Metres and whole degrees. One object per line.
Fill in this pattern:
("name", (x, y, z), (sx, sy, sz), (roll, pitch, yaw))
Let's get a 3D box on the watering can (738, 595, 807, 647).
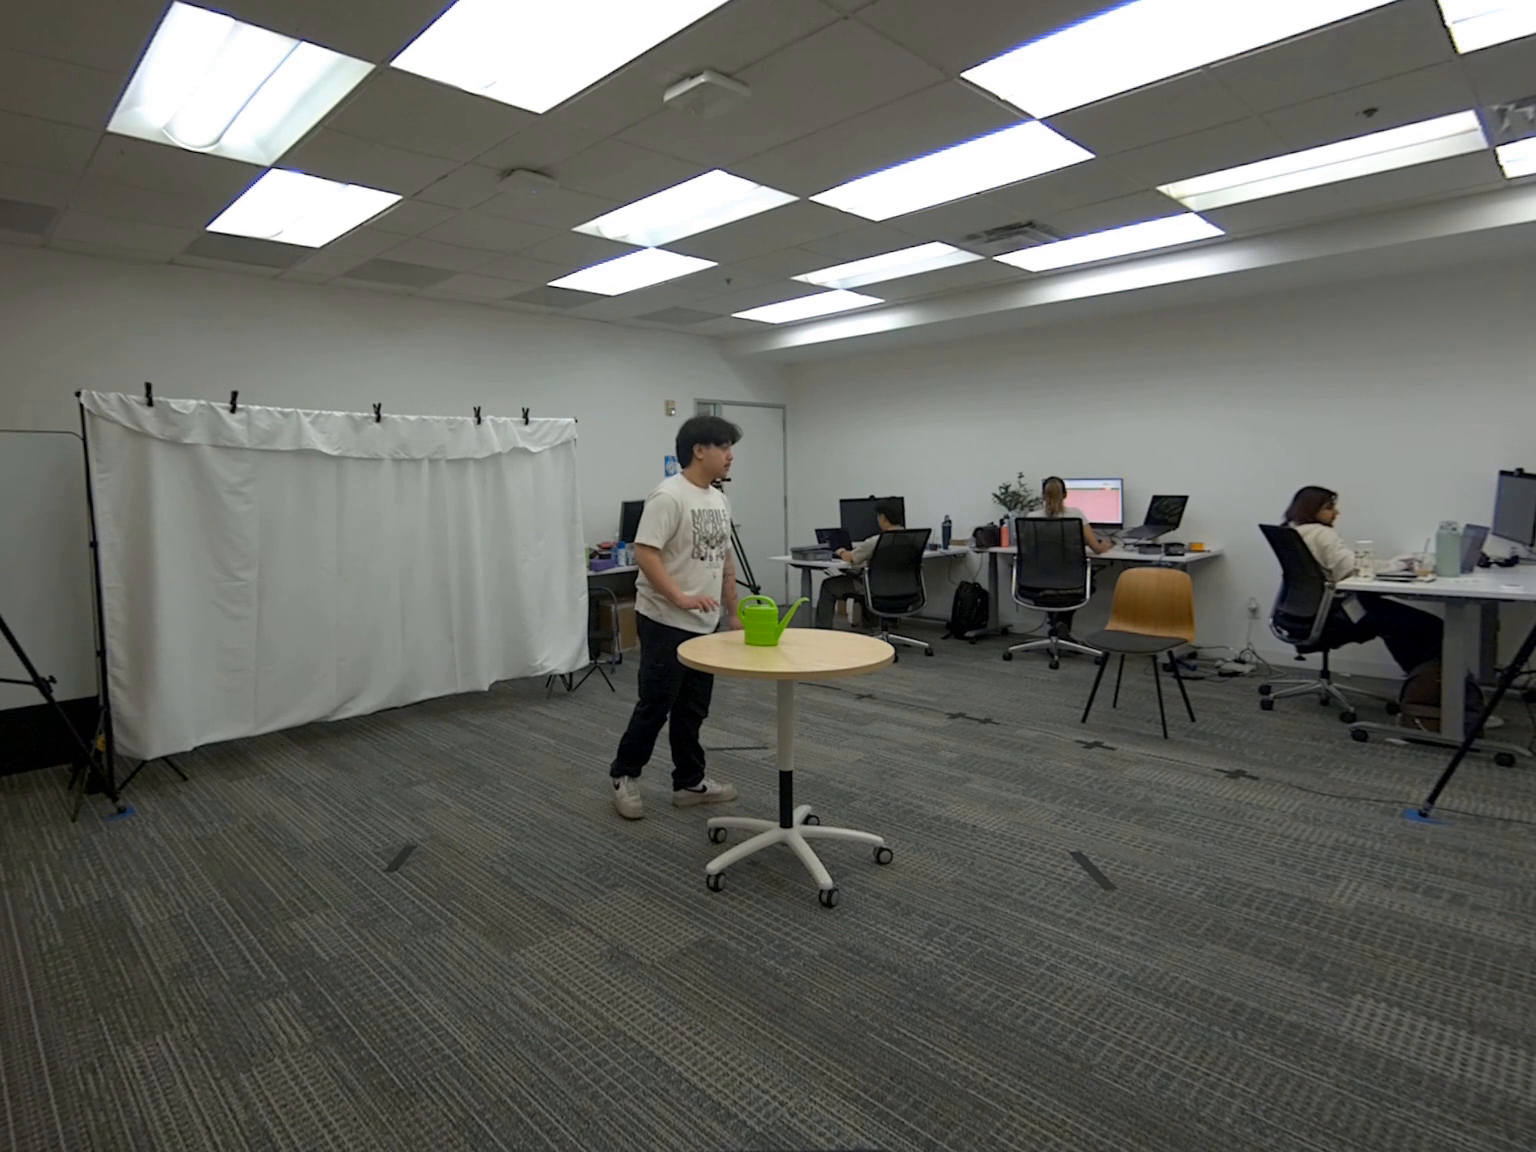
("watering can", (0.019, 0.165, 3.077), (0.286, 0.177, 0.095), (2, 2, 40))
